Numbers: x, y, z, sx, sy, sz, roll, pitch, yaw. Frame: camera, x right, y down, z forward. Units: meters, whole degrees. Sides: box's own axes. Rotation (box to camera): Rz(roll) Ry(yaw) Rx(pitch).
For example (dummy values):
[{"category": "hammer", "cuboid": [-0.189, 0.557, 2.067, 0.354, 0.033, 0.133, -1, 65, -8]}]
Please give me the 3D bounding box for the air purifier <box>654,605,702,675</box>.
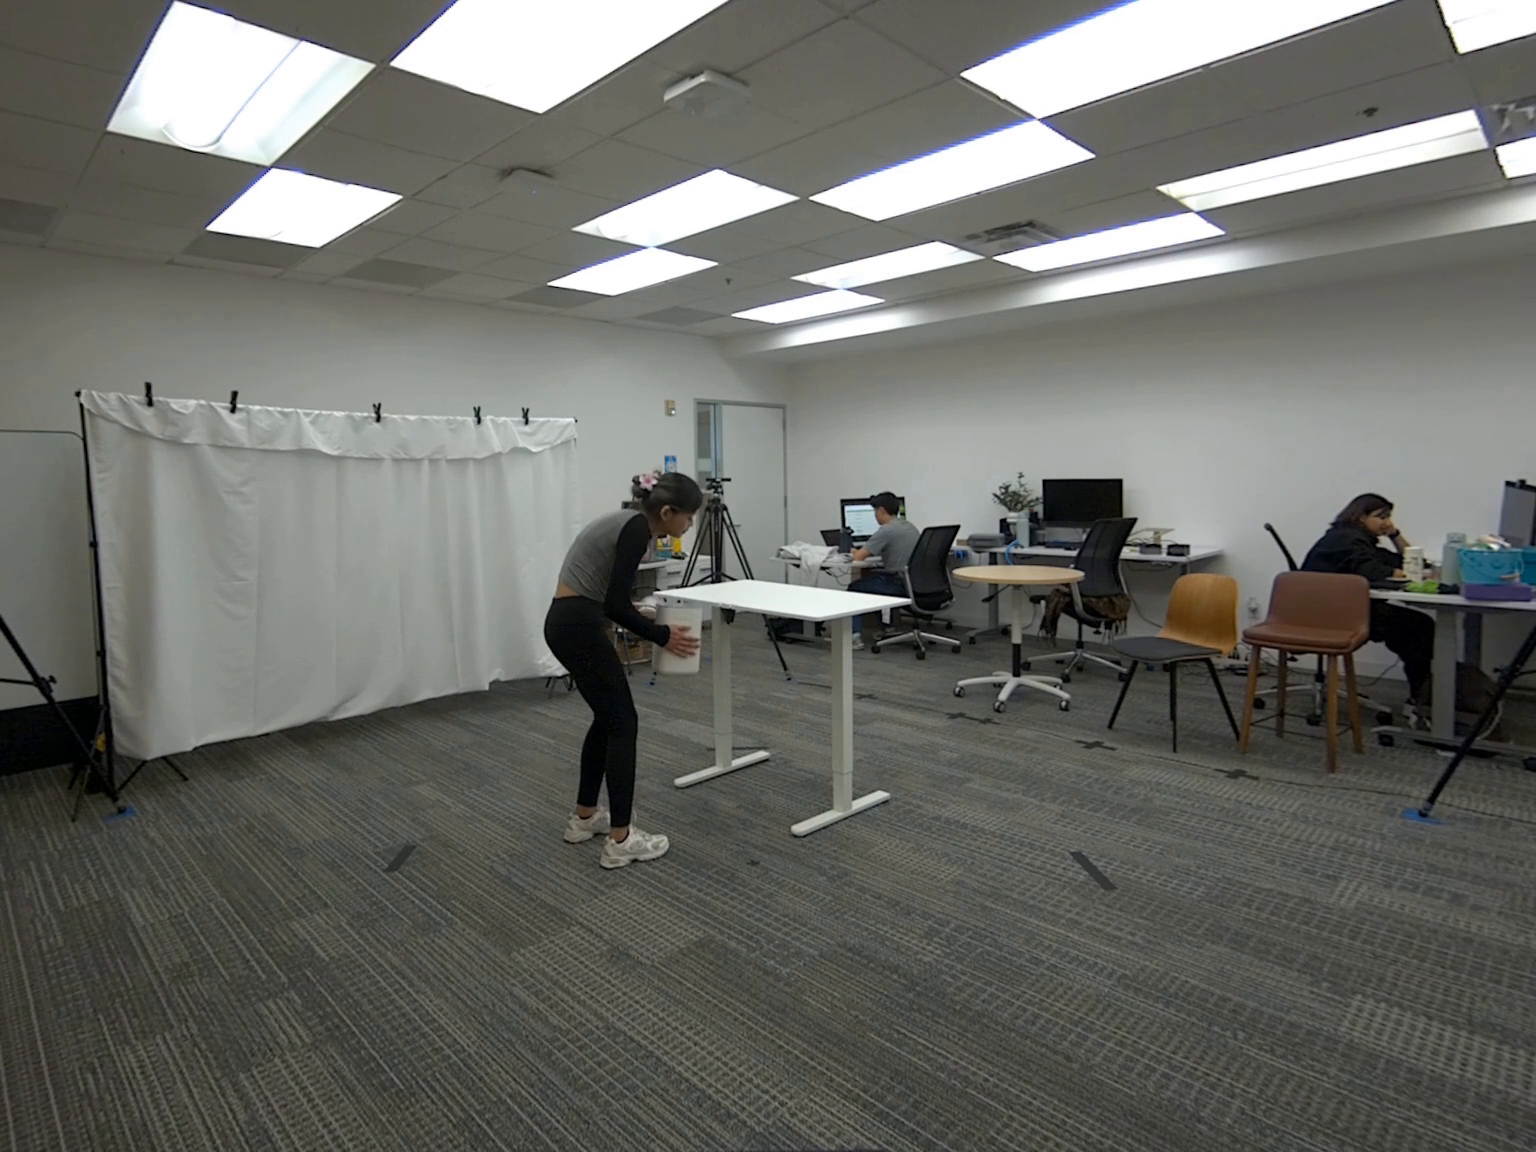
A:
[{"category": "air purifier", "cuboid": [-0.353, 0.244, 3.261, 0.168, 0.265, 0.174, 3, 1, -15]}]
